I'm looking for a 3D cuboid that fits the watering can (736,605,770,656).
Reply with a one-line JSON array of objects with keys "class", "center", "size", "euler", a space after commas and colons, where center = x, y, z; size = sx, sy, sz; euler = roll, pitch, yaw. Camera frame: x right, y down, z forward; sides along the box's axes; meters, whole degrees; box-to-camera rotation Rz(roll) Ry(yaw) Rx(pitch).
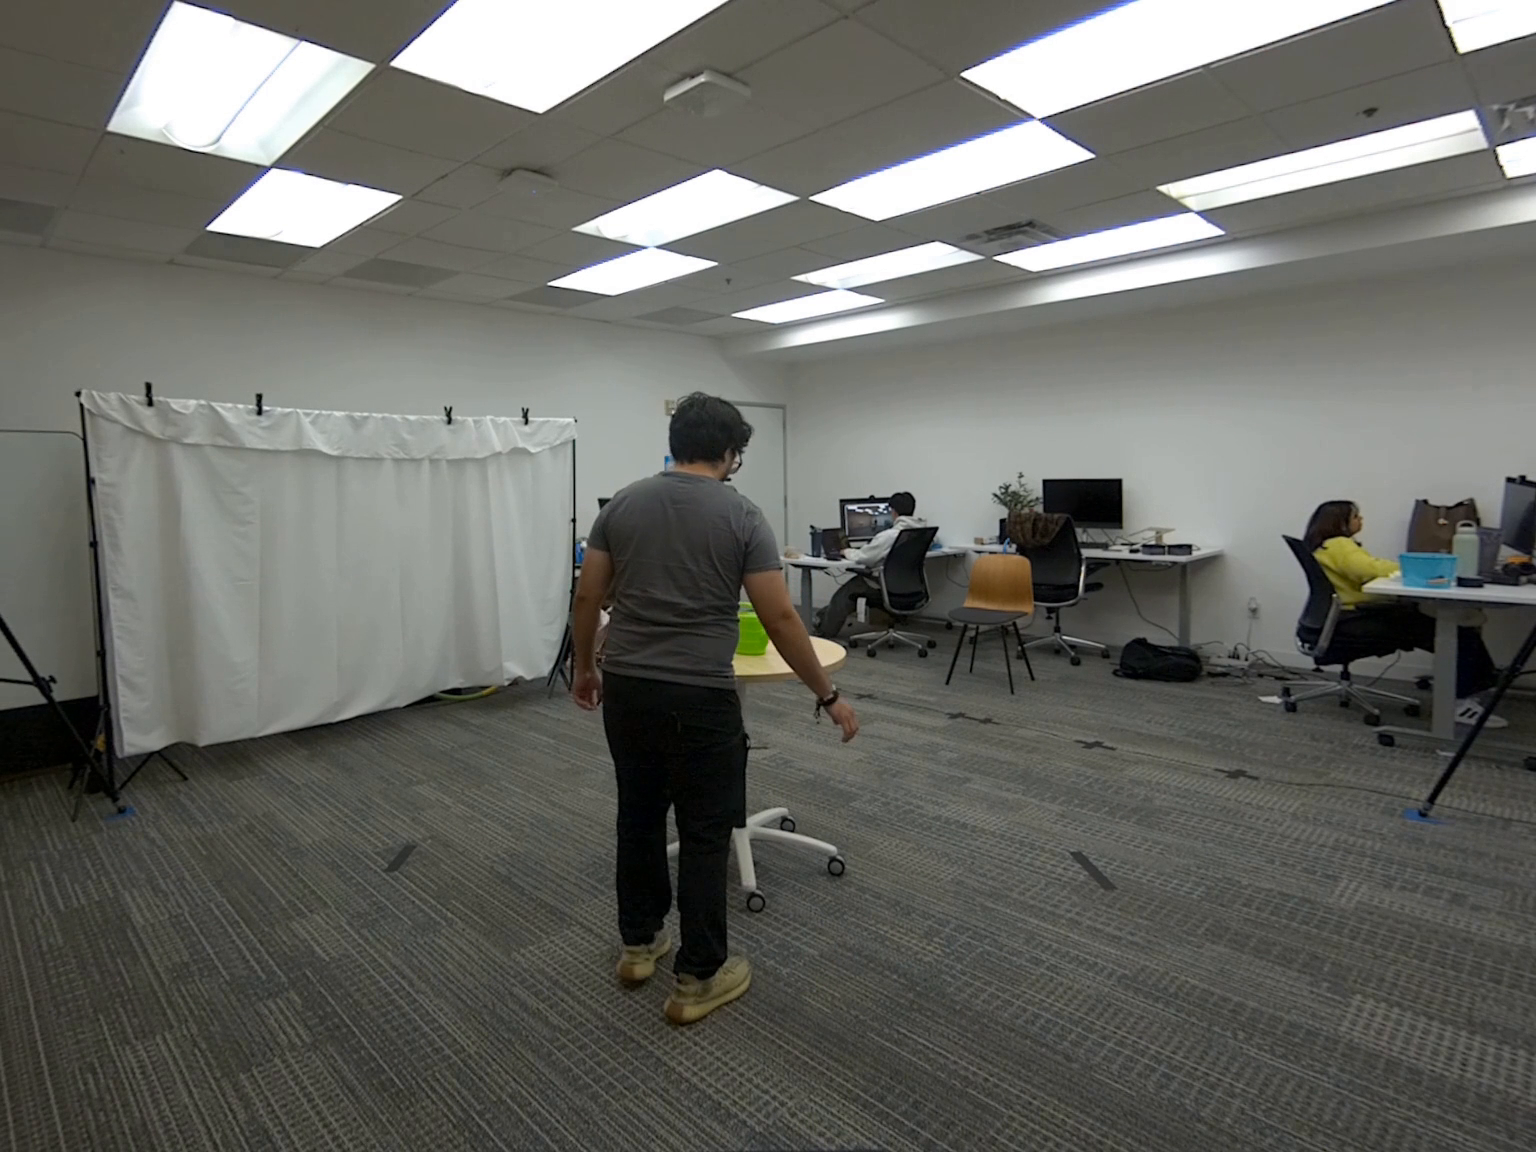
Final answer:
[{"class": "watering can", "center": [-0.030, 0.185, 2.972], "size": [0.095, 0.176, 0.286], "euler": [-2, 4, -39]}]
